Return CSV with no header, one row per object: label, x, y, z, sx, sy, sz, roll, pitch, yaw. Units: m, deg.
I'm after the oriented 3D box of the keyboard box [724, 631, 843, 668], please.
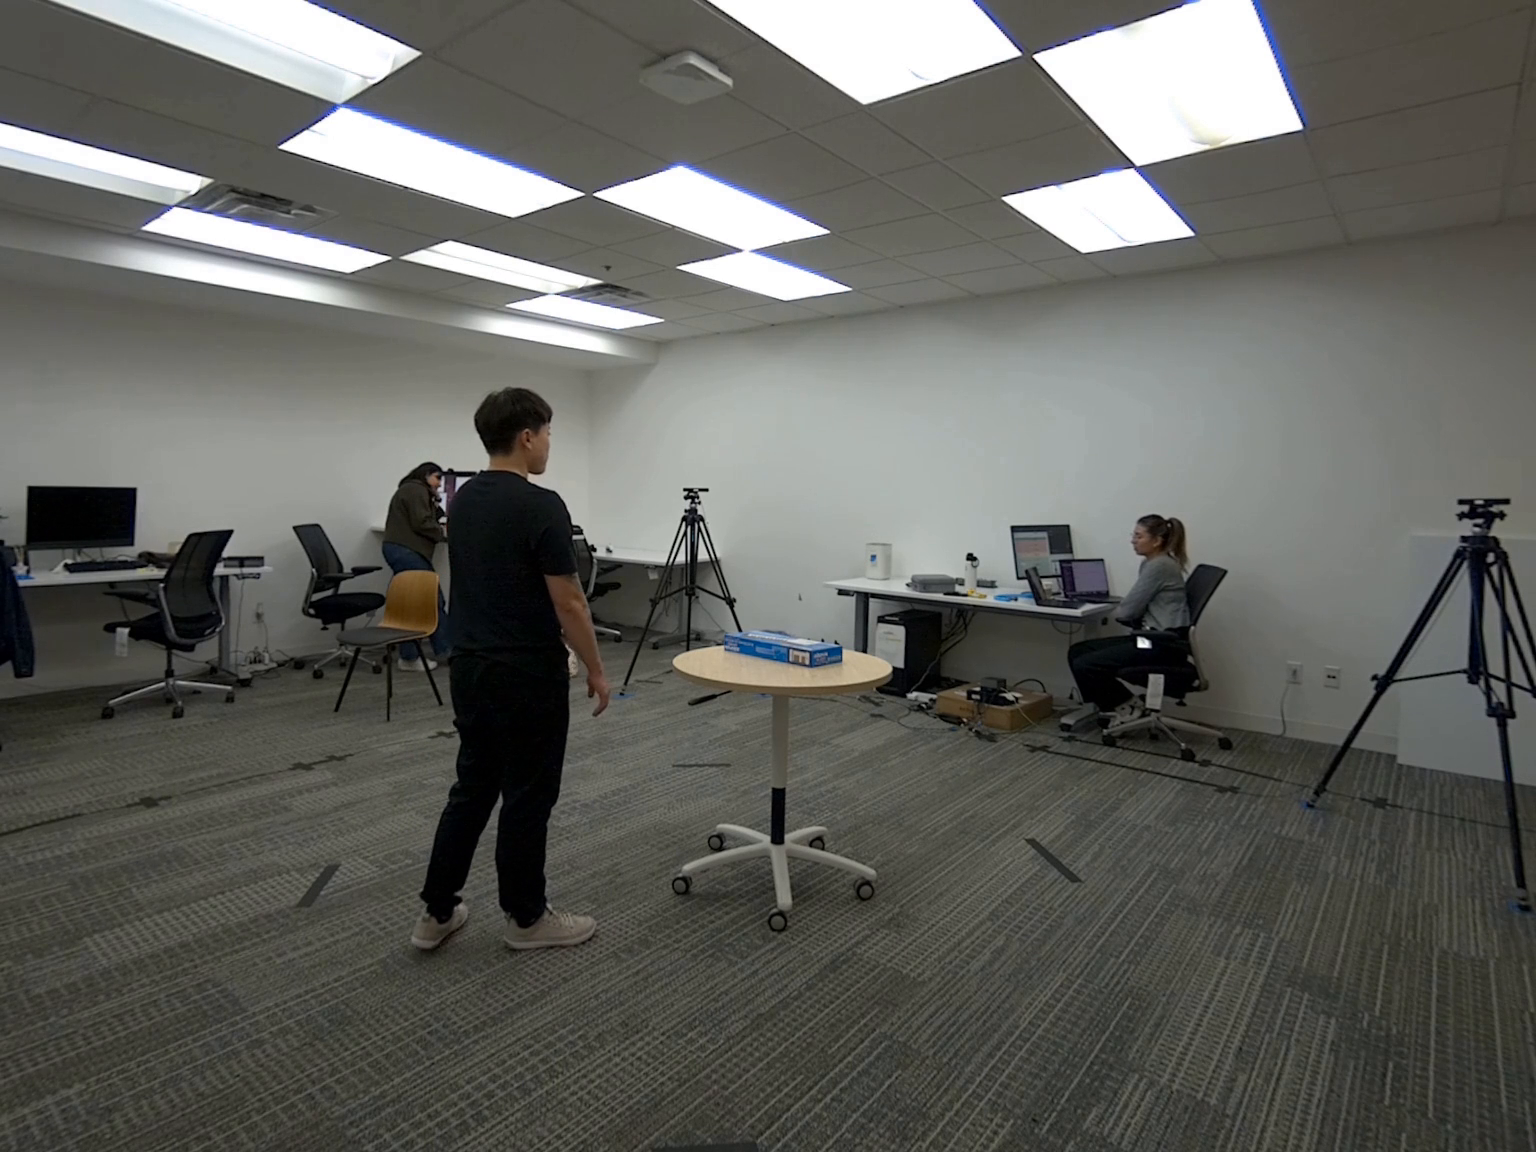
keyboard box,0.045,0.263,3.118,0.452,0.059,0.171,6,7,45
